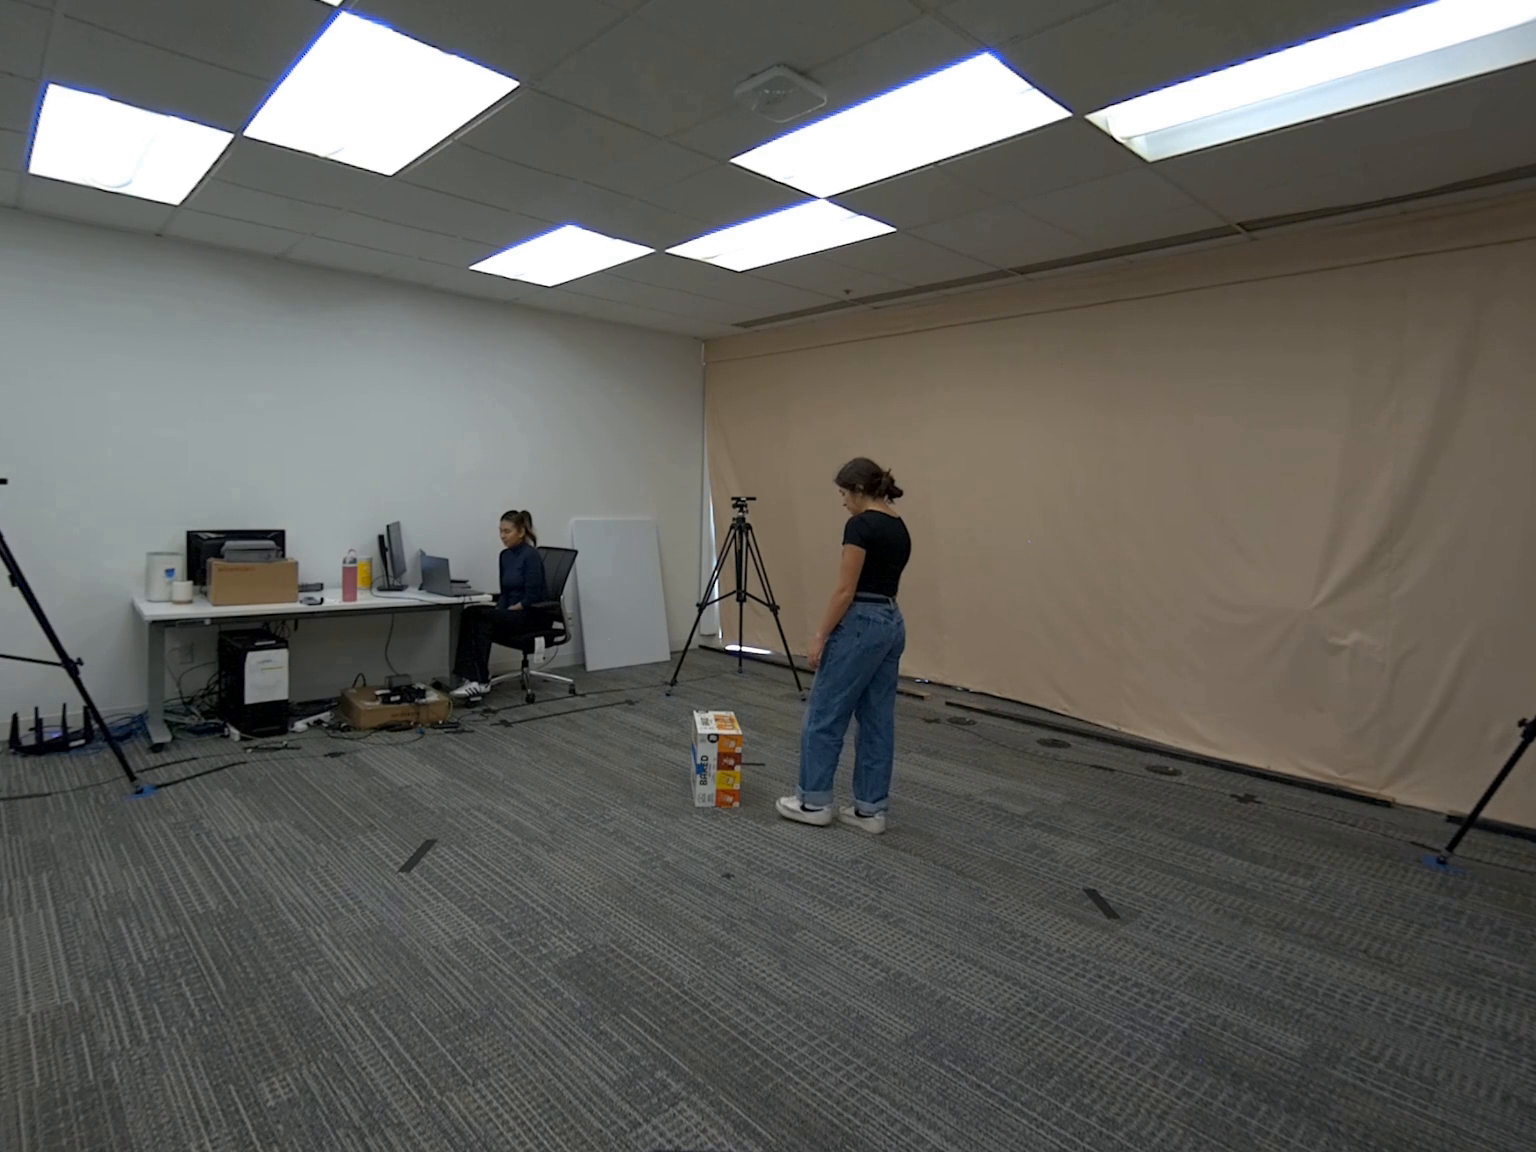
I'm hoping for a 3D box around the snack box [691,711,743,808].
[{"bbox_3d":[-0.259,0.856,3.996,0.205,0.339,0.408,3,4,-7],"label":"snack box"}]
